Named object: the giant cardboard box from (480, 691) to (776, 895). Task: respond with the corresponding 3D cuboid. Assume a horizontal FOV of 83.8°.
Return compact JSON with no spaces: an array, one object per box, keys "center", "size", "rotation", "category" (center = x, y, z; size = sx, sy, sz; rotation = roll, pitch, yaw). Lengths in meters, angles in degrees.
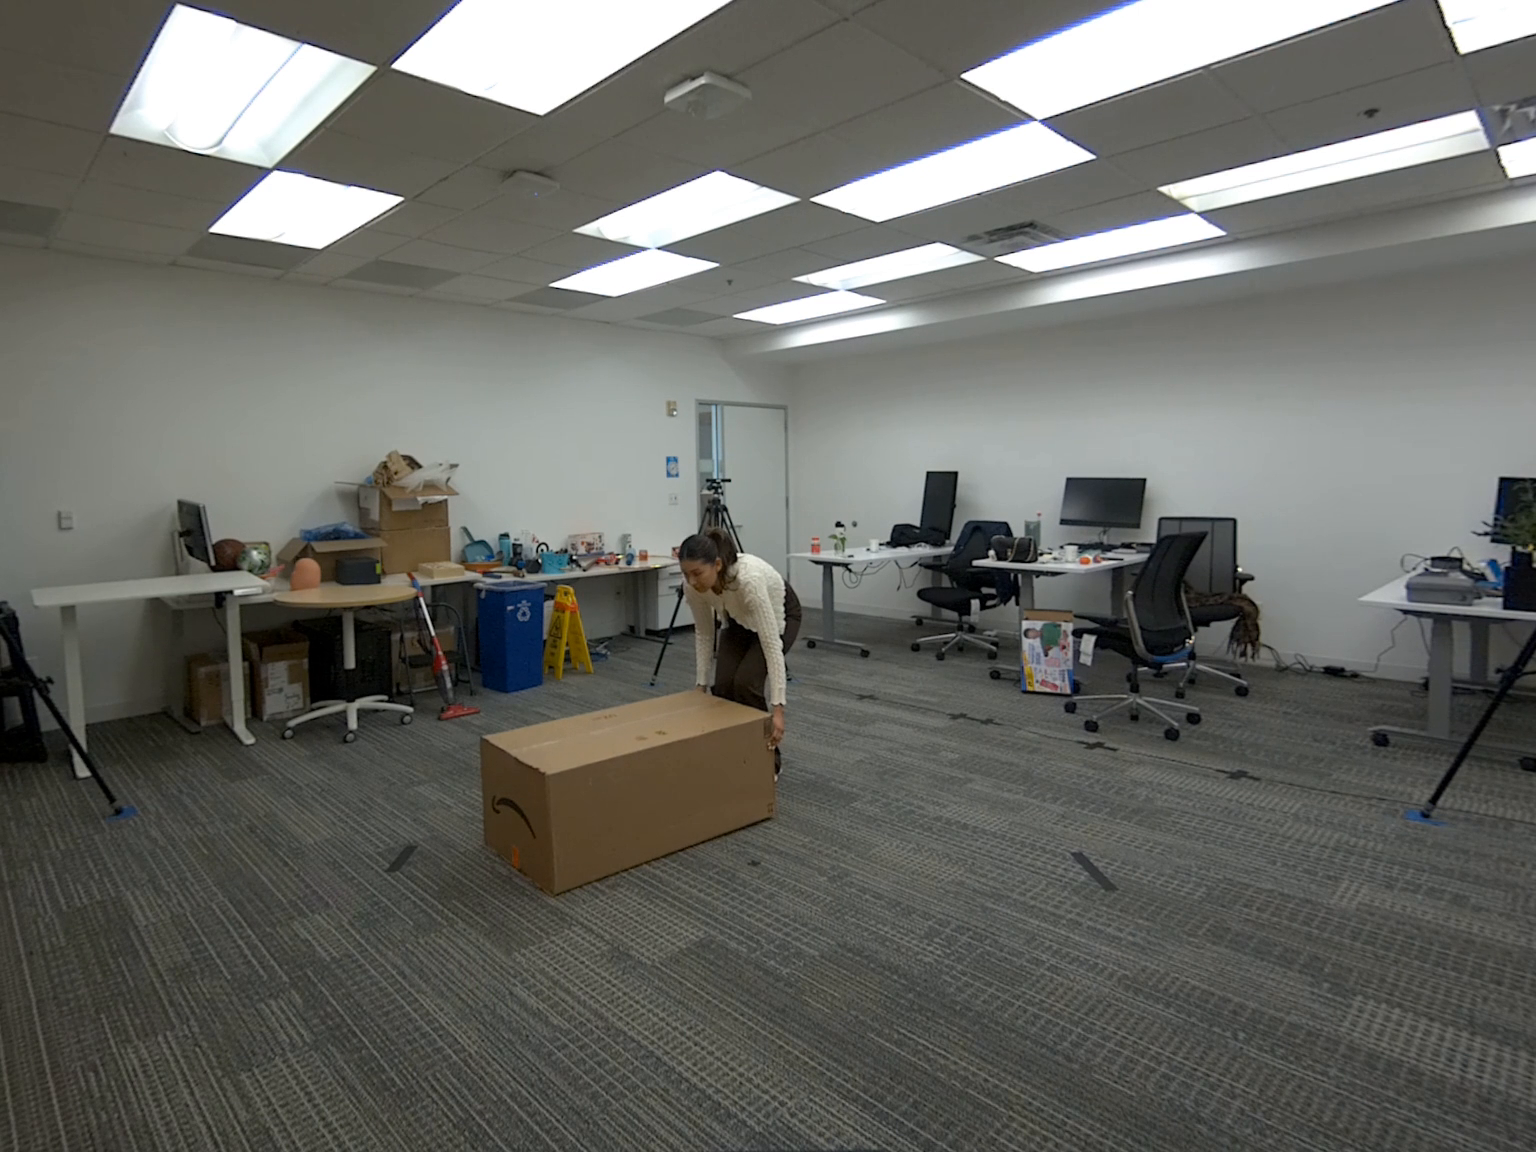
[{"center":[-0.542,0.803,3.402],"size":[1.000,0.424,0.595],"rotation":[-7,8,-39],"category":"giant cardboard box"}]
